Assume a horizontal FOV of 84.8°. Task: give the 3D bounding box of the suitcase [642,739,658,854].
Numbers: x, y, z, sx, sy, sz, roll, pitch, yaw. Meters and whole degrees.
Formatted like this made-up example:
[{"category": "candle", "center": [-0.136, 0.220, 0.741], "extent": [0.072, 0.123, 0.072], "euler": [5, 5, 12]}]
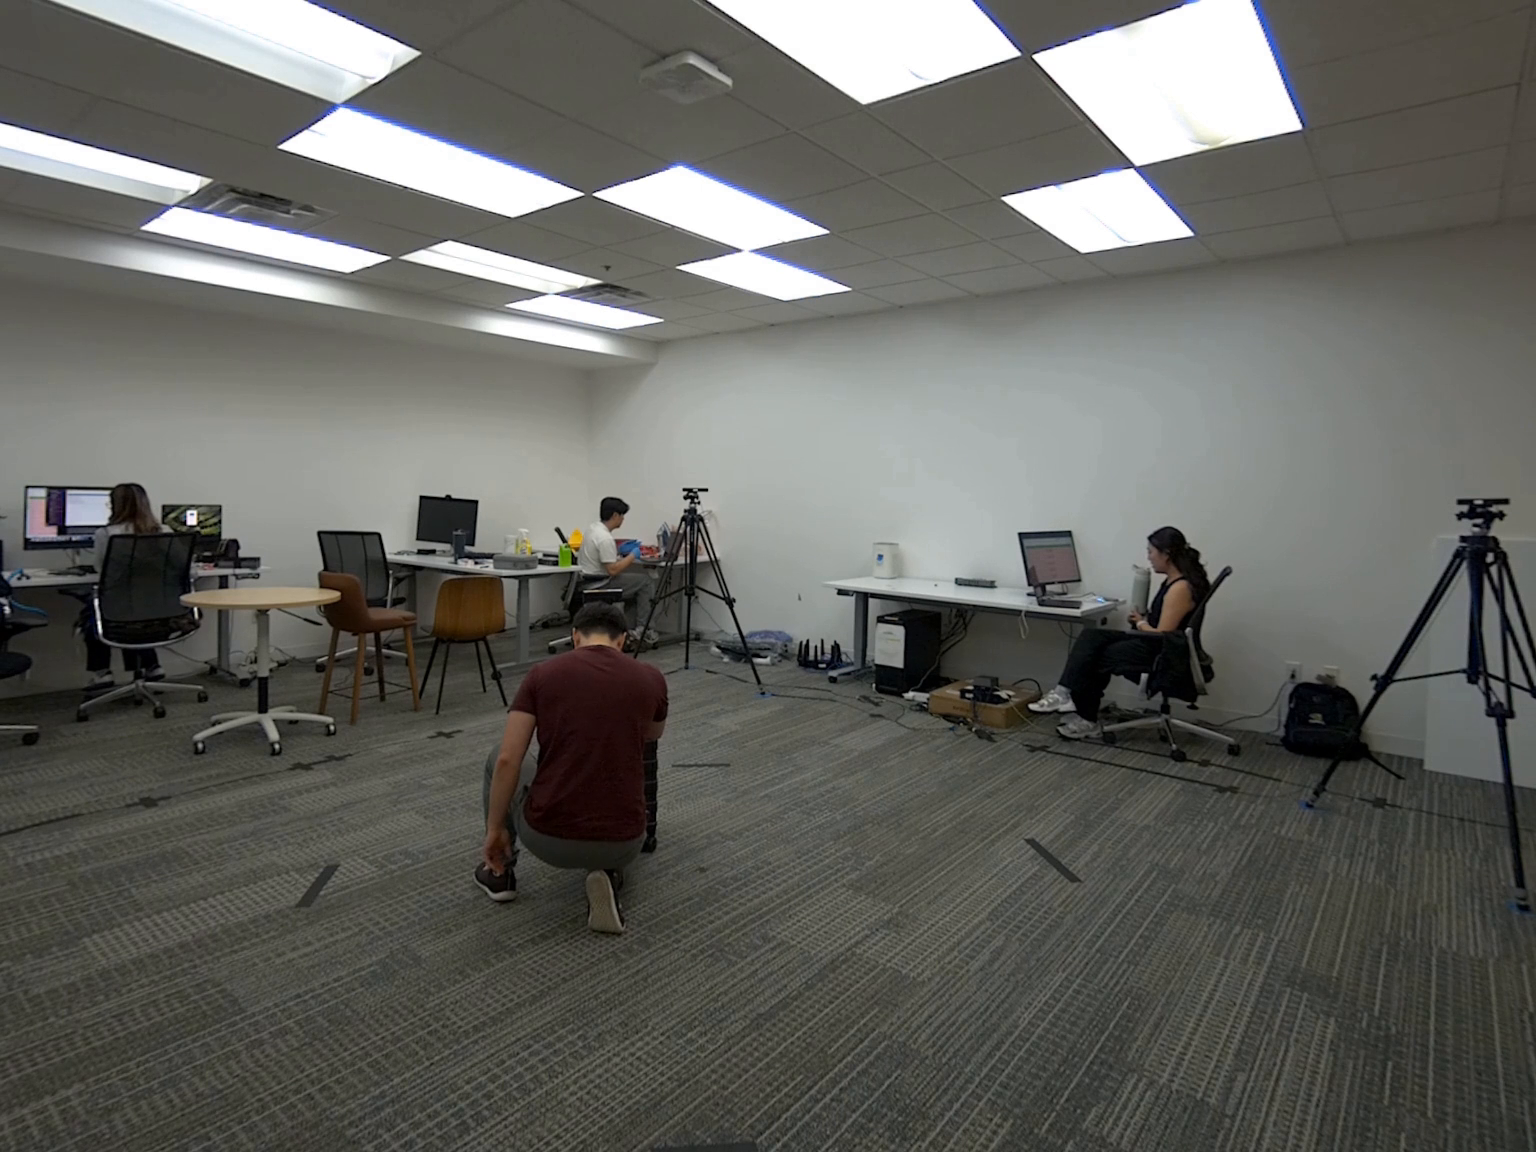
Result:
[{"category": "suitcase", "center": [-0.621, 0.562, 3.297], "extent": [0.376, 0.975, 0.263], "euler": [-1, 4, -21]}]
